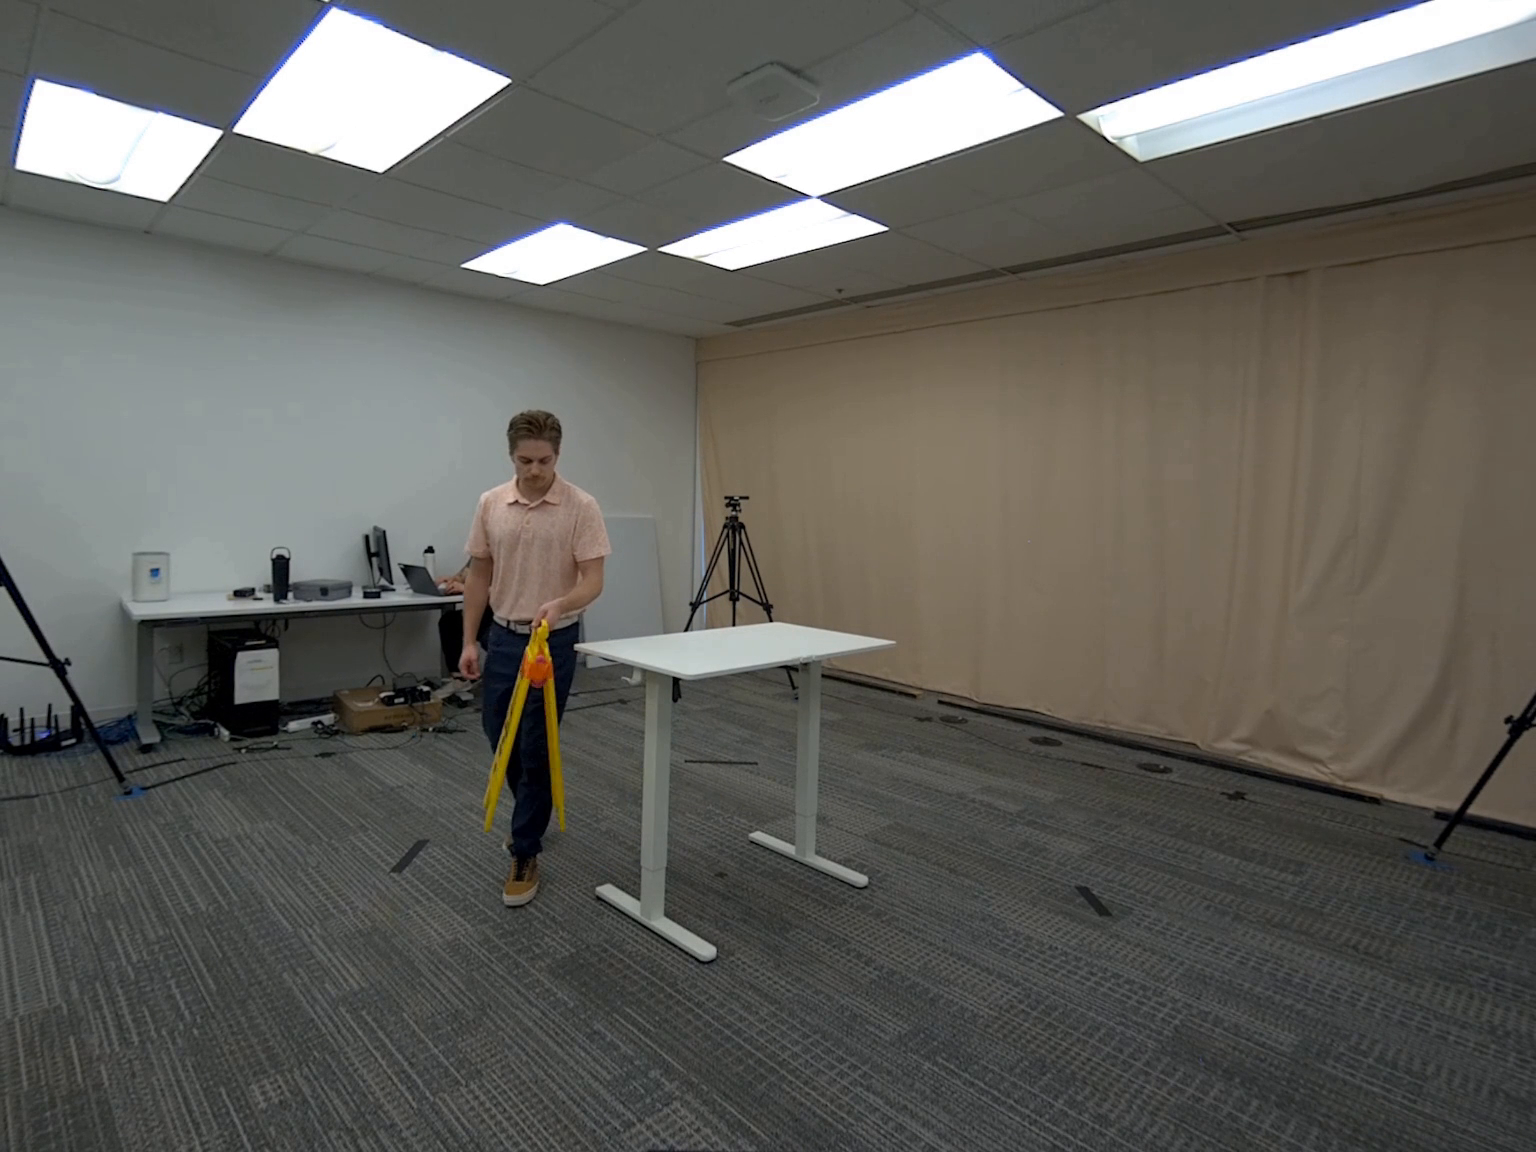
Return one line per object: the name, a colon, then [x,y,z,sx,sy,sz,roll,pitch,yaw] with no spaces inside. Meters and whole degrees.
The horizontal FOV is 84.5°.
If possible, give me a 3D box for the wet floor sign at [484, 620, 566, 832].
wet floor sign: [-0.779,0.466,2.724,0.285,0.645,0.287,5,3,-18]
